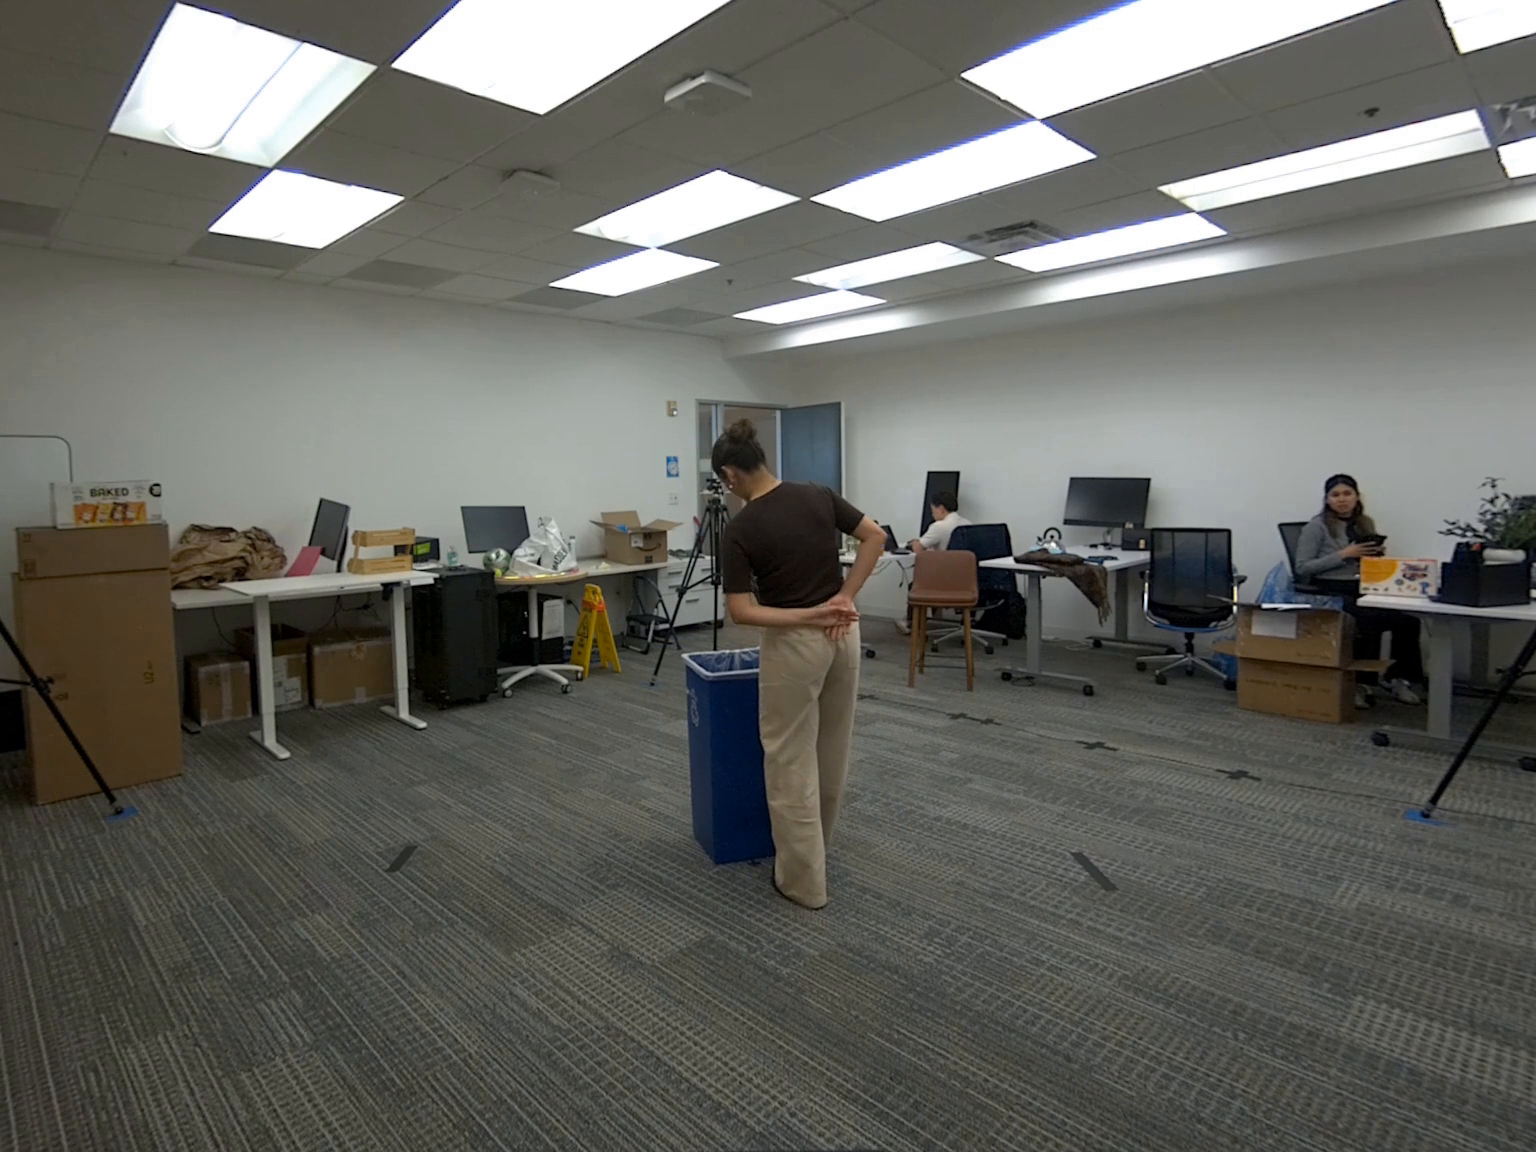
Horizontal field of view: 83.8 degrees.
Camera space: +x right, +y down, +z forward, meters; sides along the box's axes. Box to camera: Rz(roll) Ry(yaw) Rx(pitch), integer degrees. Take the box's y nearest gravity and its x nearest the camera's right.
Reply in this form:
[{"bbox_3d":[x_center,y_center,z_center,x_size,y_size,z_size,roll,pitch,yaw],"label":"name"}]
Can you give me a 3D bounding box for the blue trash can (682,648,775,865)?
[{"bbox_3d":[-0.112,0.670,3.249,0.367,0.711,0.386,-2,5,-20],"label":"blue trash can"}]
